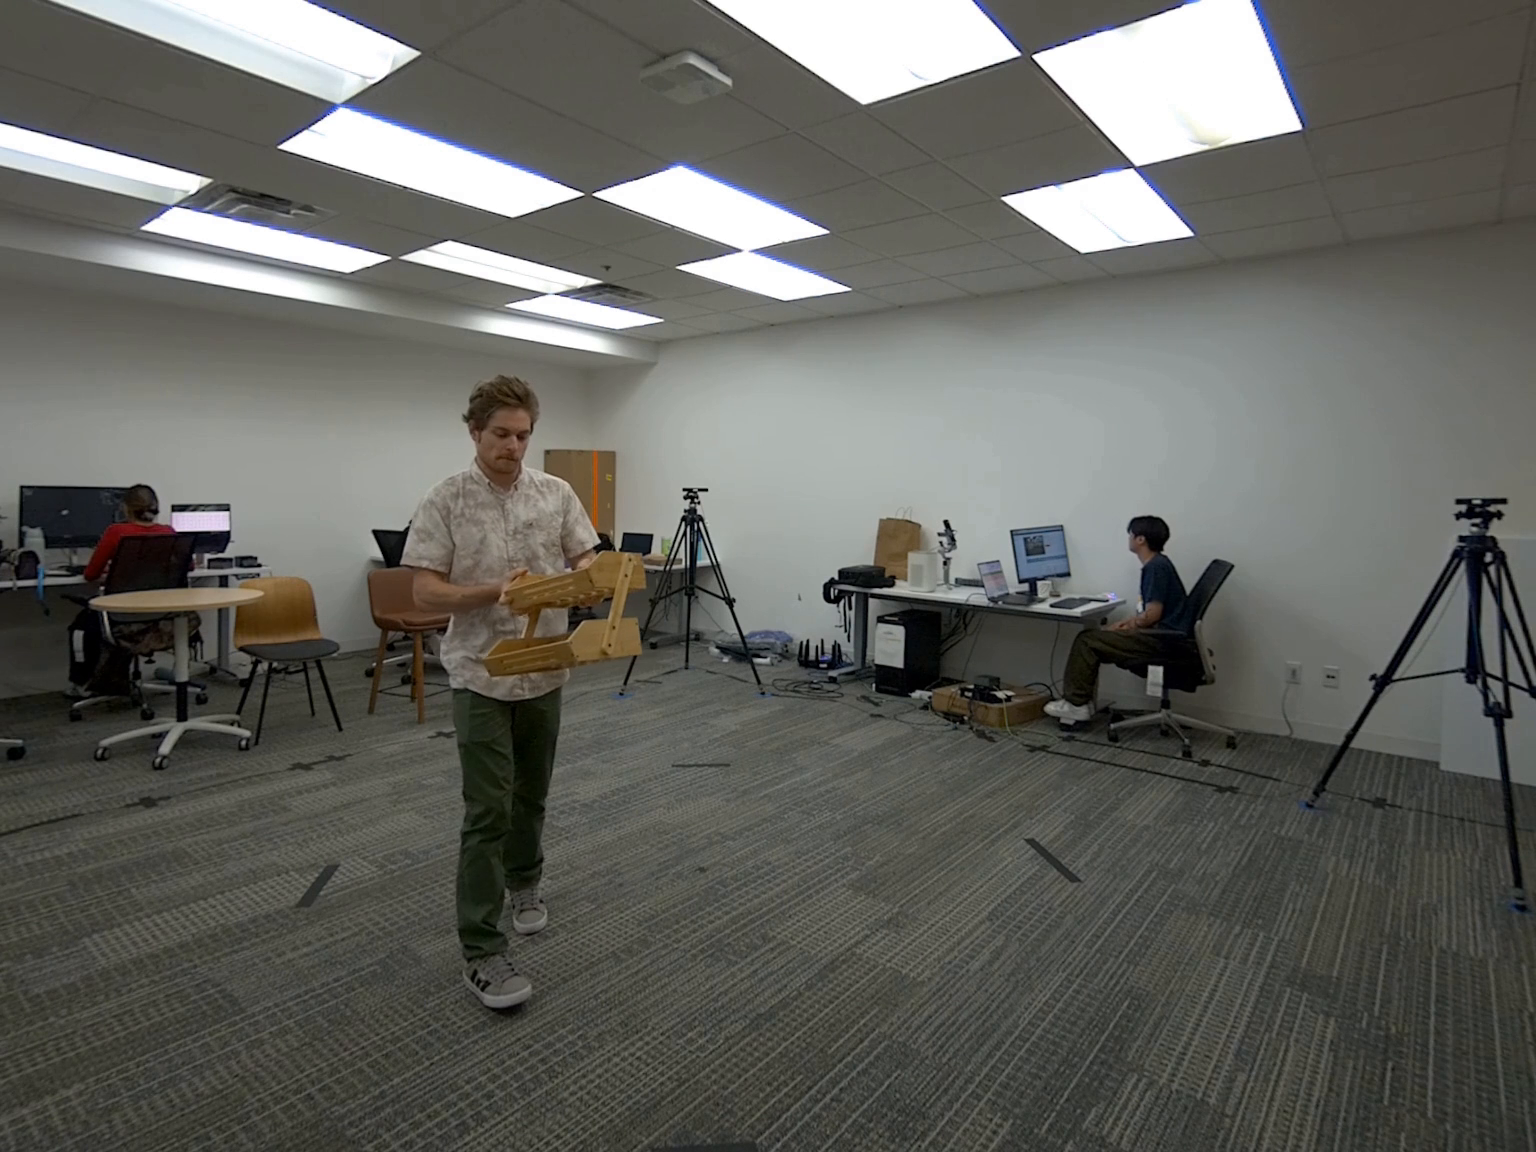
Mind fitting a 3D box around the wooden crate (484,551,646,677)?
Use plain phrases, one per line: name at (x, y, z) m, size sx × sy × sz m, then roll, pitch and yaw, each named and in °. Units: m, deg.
wooden crate at (-0.524, 0.092, 2.133) m, size 0.331 × 0.276 × 0.292 m, roll -14°, pitch -10°, yaw 32°
